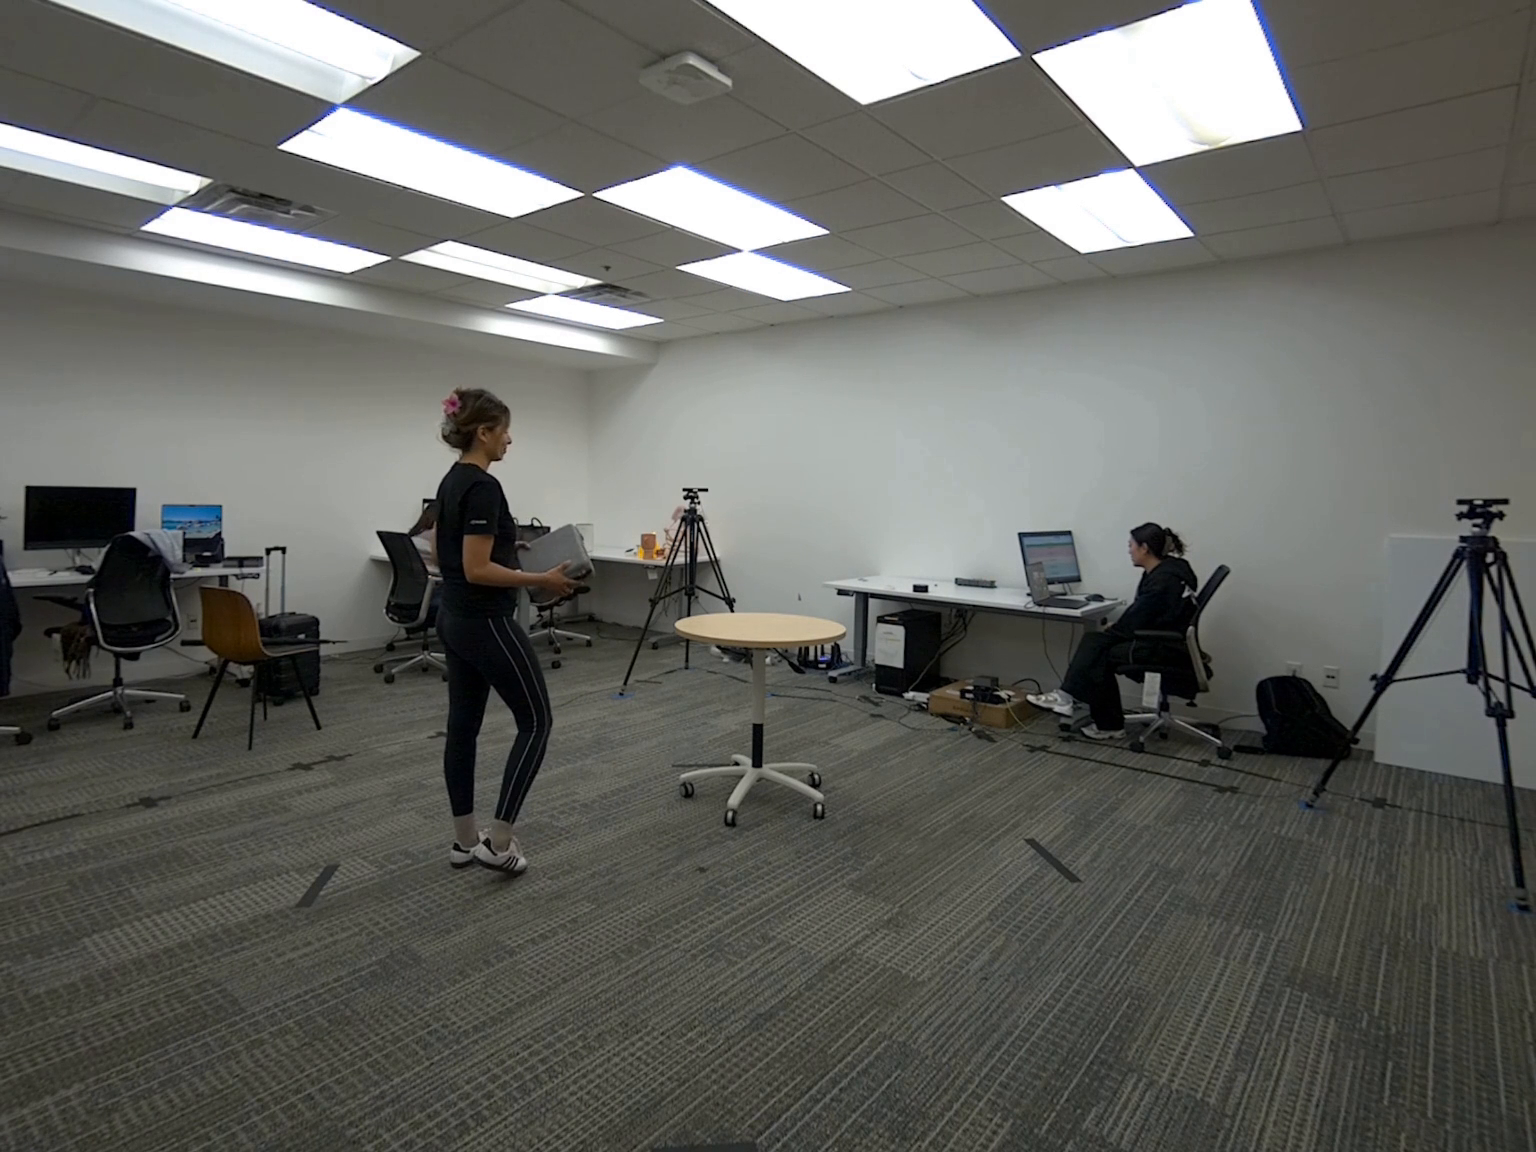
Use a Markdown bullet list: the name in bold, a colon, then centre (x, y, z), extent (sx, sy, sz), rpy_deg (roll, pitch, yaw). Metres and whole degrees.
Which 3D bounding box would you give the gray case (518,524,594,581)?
- **gray case**: centre (-0.839, -0.056, 3.272), extent (0.257, 0.271, 0.100), rpy_deg (-27, -39, 1)
